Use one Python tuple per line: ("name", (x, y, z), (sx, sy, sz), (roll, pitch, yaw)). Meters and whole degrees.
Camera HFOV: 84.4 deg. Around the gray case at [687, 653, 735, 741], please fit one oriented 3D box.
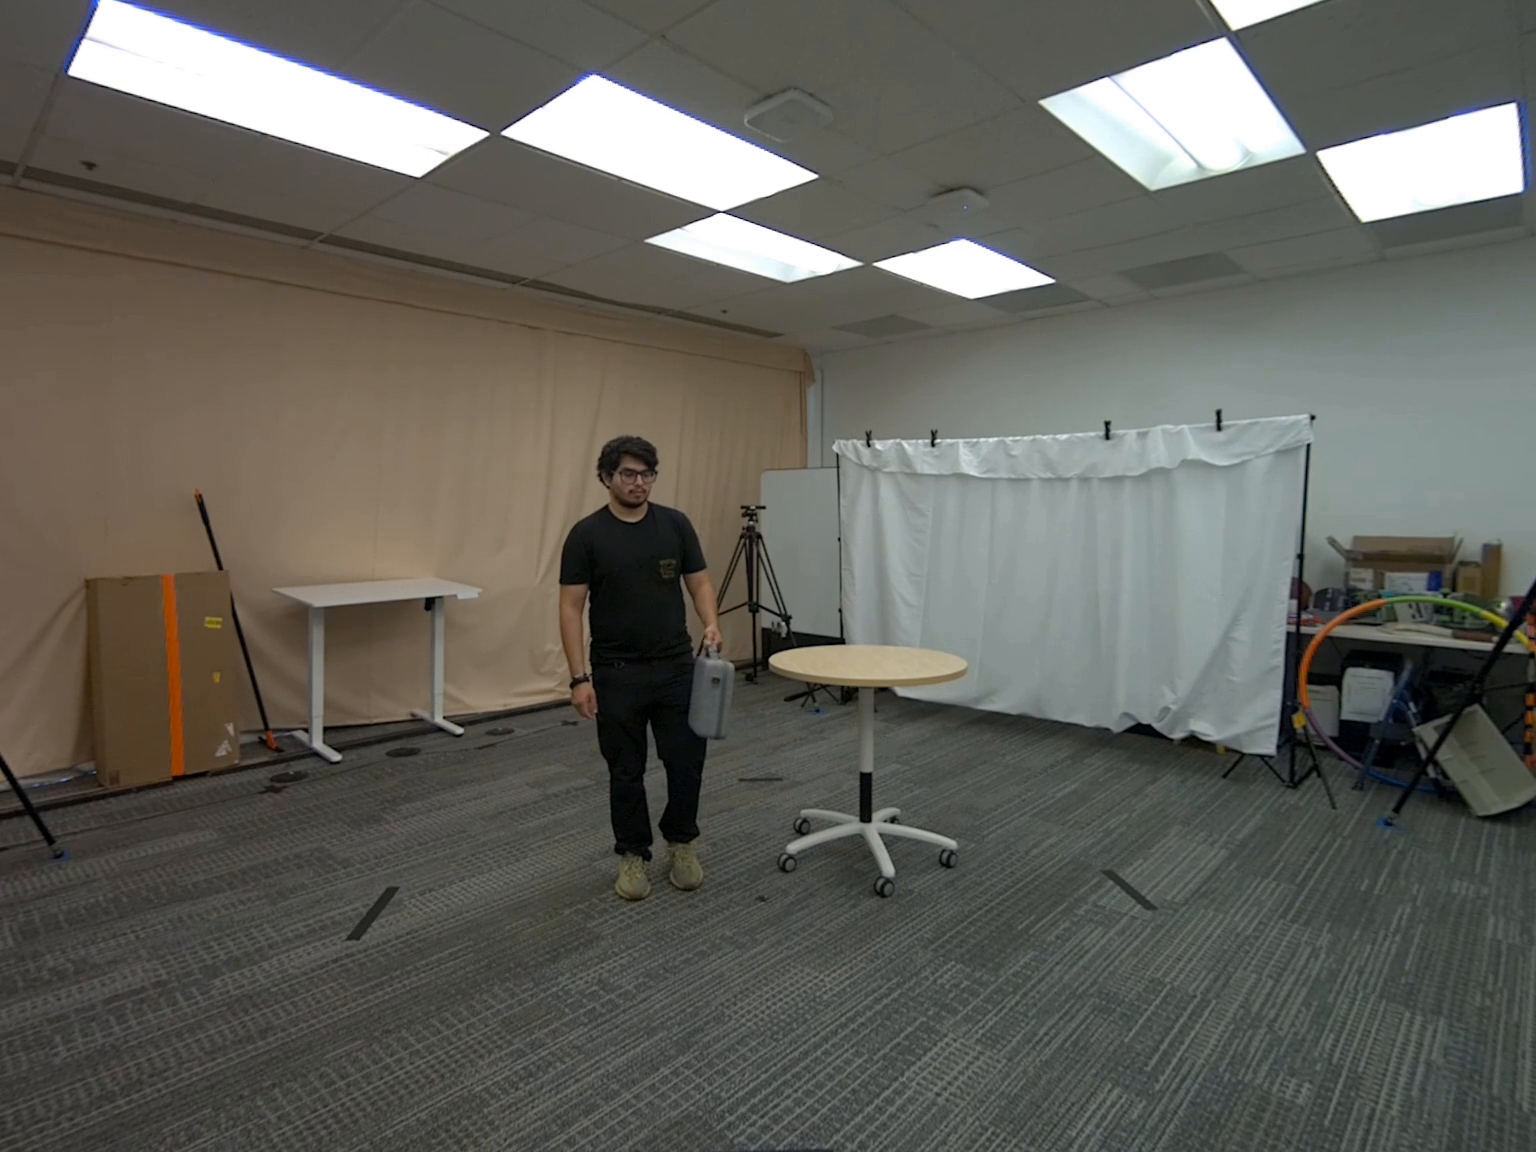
("gray case", (-0.180, 0.396, 2.808), (0.103, 0.261, 0.258), (6, -3, -8))
